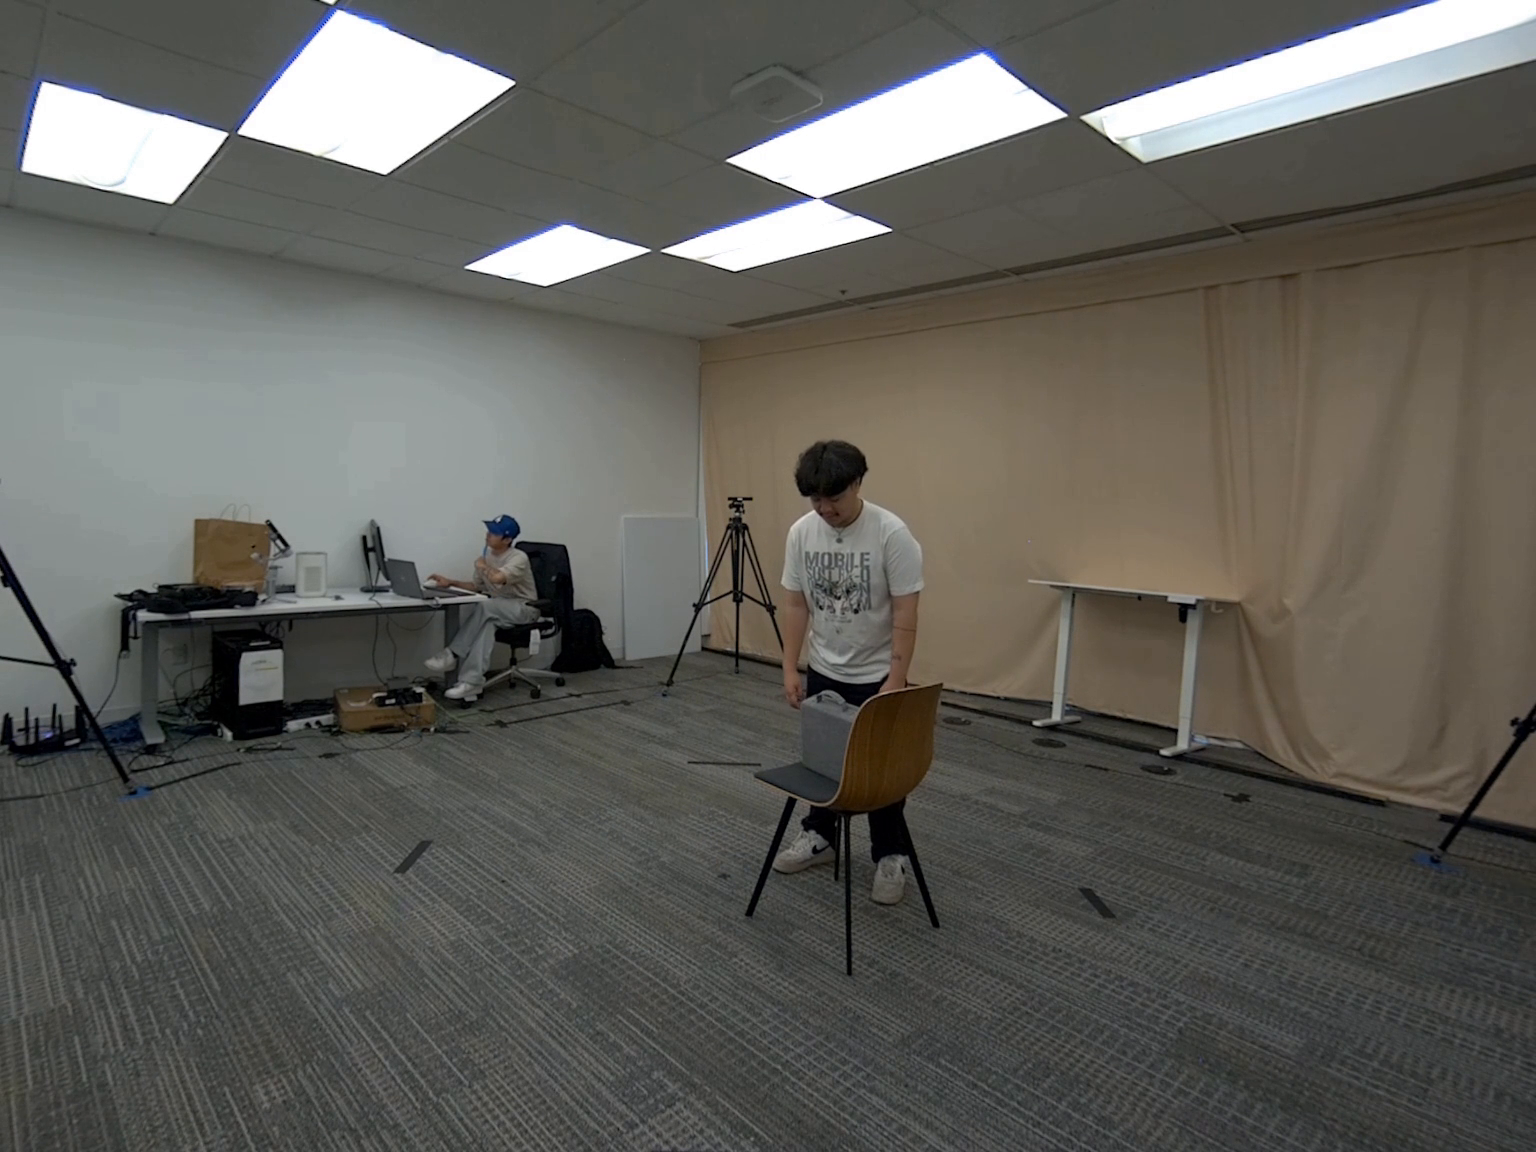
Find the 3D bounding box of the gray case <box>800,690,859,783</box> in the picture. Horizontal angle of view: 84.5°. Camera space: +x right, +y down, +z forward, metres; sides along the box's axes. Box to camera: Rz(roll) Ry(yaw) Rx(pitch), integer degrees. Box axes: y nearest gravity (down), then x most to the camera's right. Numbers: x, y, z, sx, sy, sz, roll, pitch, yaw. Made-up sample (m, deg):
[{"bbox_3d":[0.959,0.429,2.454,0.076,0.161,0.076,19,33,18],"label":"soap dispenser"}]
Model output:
[{"bbox_3d":[0.220,0.540,2.784,0.102,0.258,0.264,-12,16,-38],"label":"gray case"}]
